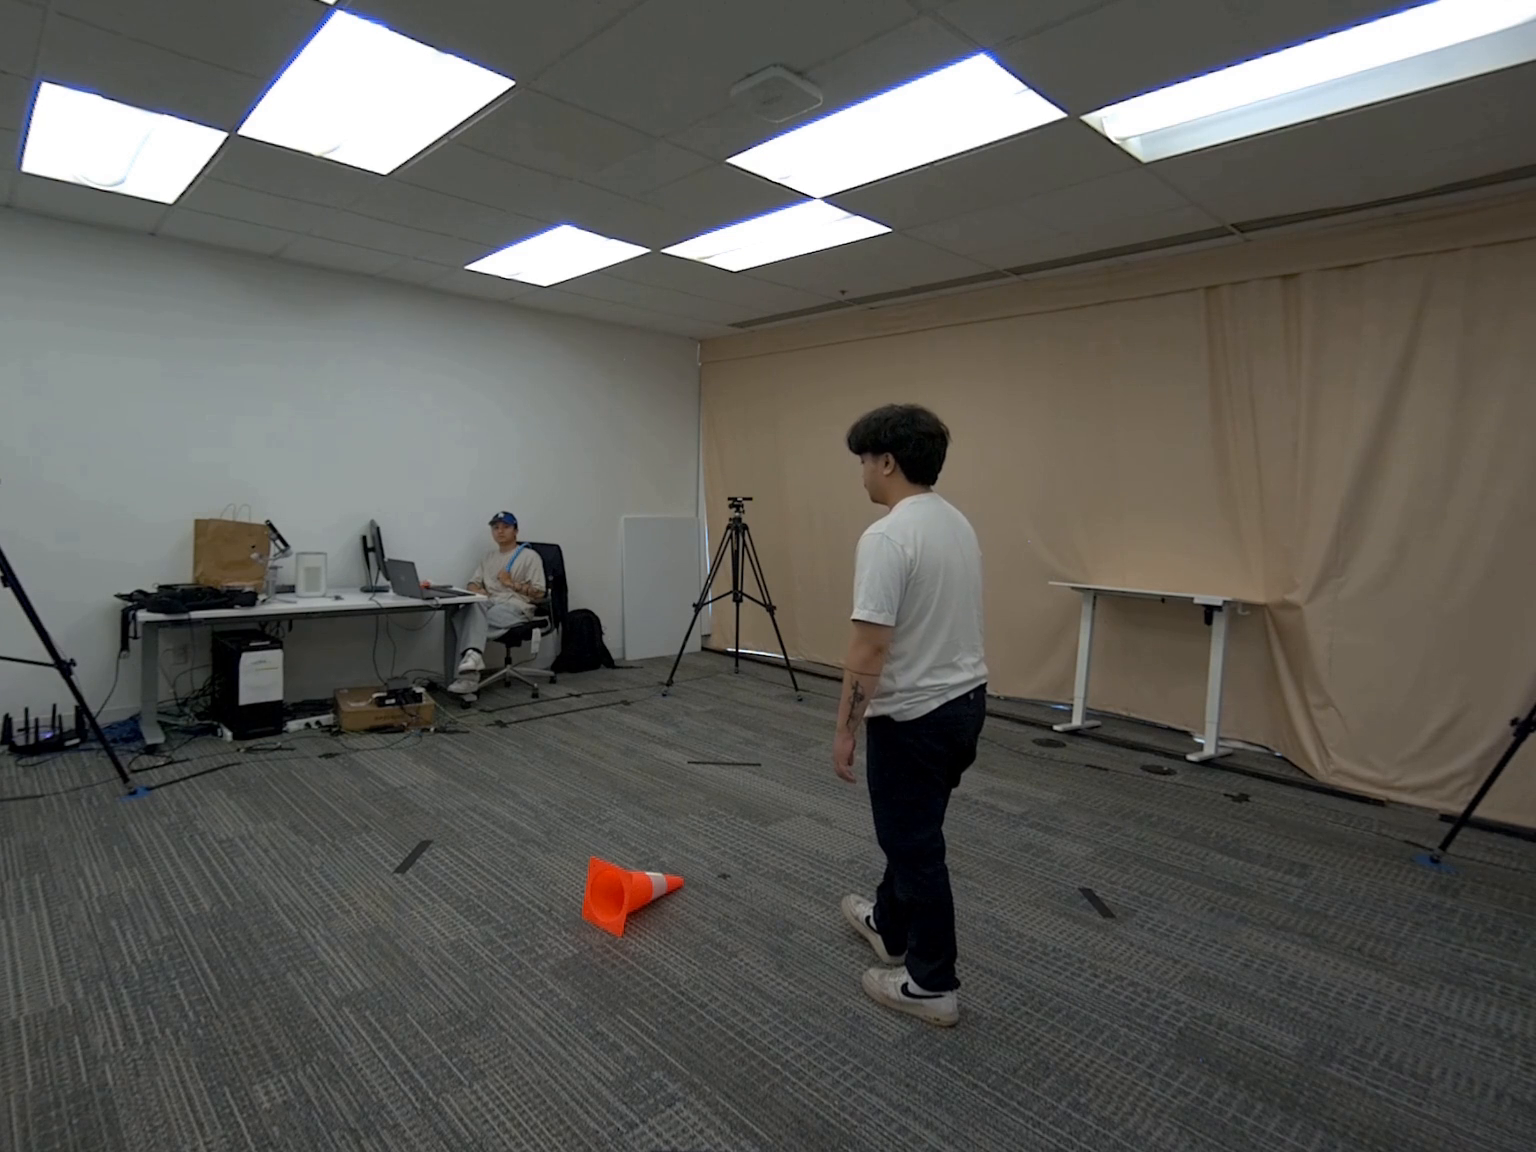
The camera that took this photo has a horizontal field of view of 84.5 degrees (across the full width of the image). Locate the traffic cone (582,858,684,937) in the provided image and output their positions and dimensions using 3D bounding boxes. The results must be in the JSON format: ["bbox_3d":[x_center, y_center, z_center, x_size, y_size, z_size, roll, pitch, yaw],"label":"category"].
[{"bbox_3d":[-0.428,1.071,2.872,0.210,0.204,0.373,6,-7,36],"label":"traffic cone"}]
